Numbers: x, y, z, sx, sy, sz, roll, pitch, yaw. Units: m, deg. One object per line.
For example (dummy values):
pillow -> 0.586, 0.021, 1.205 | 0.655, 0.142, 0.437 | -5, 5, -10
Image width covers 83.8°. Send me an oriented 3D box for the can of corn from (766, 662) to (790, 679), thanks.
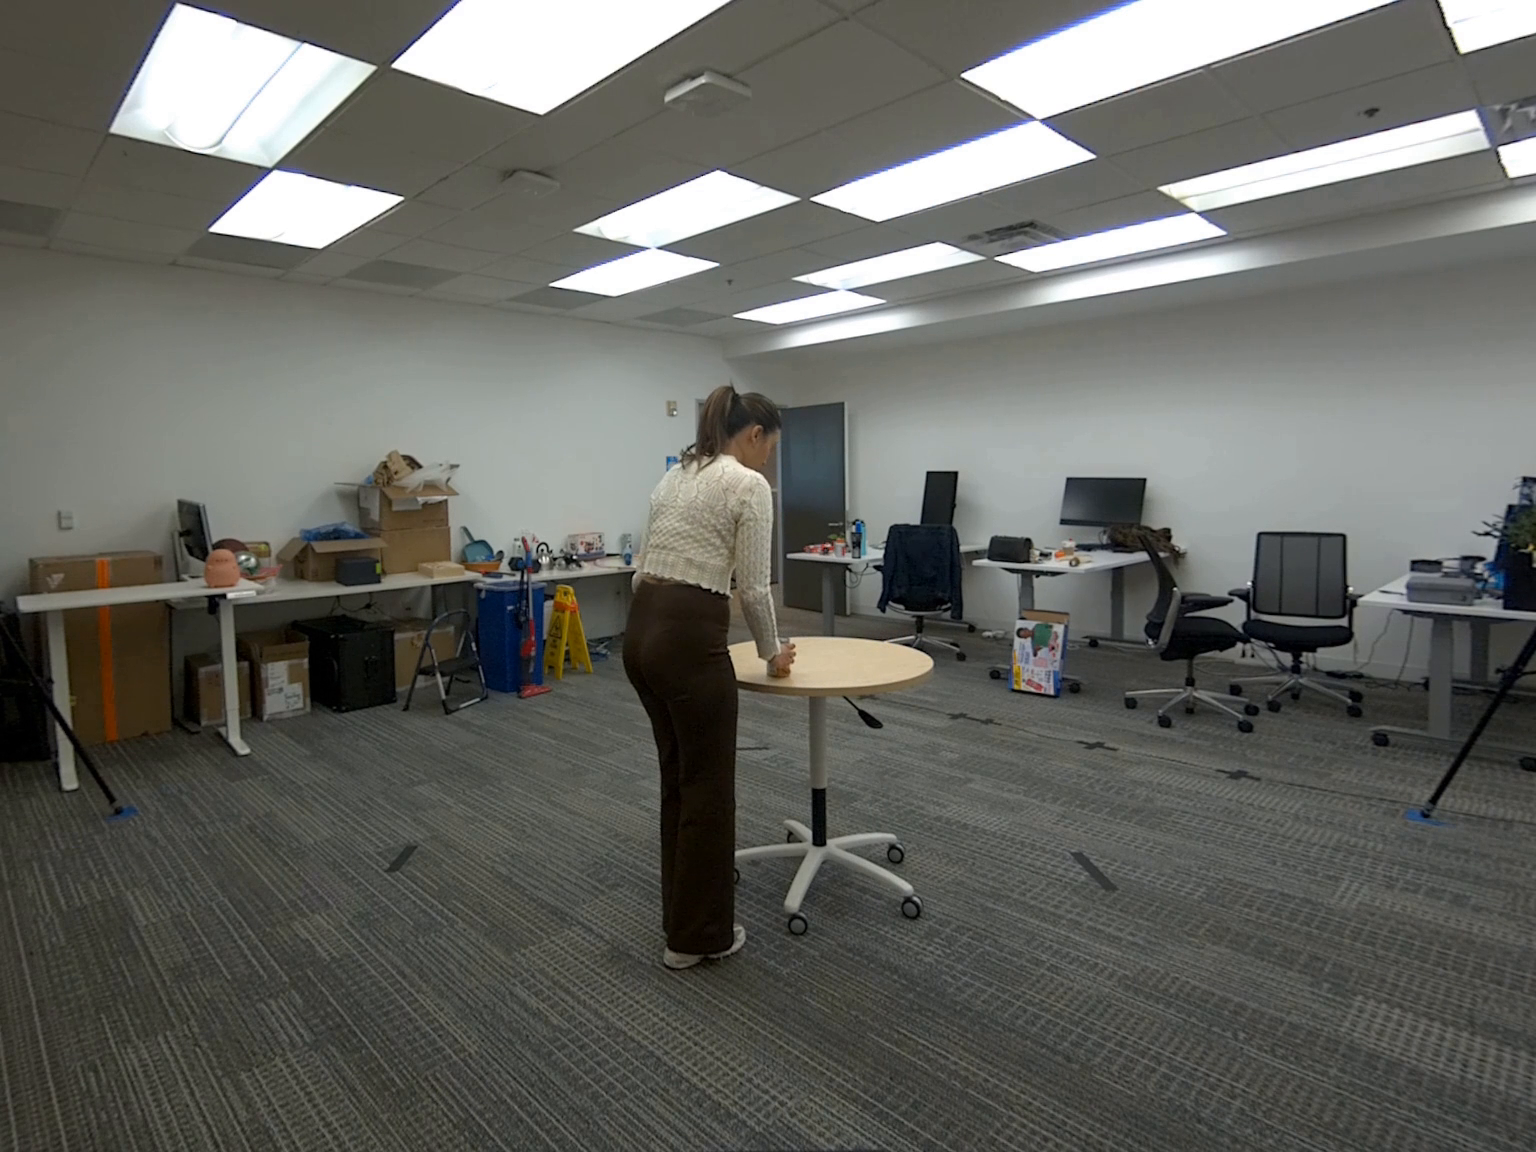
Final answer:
can of corn -> 0.045, 0.255, 2.676 | 0.074, 0.110, 0.074 | 0, 5, -2
